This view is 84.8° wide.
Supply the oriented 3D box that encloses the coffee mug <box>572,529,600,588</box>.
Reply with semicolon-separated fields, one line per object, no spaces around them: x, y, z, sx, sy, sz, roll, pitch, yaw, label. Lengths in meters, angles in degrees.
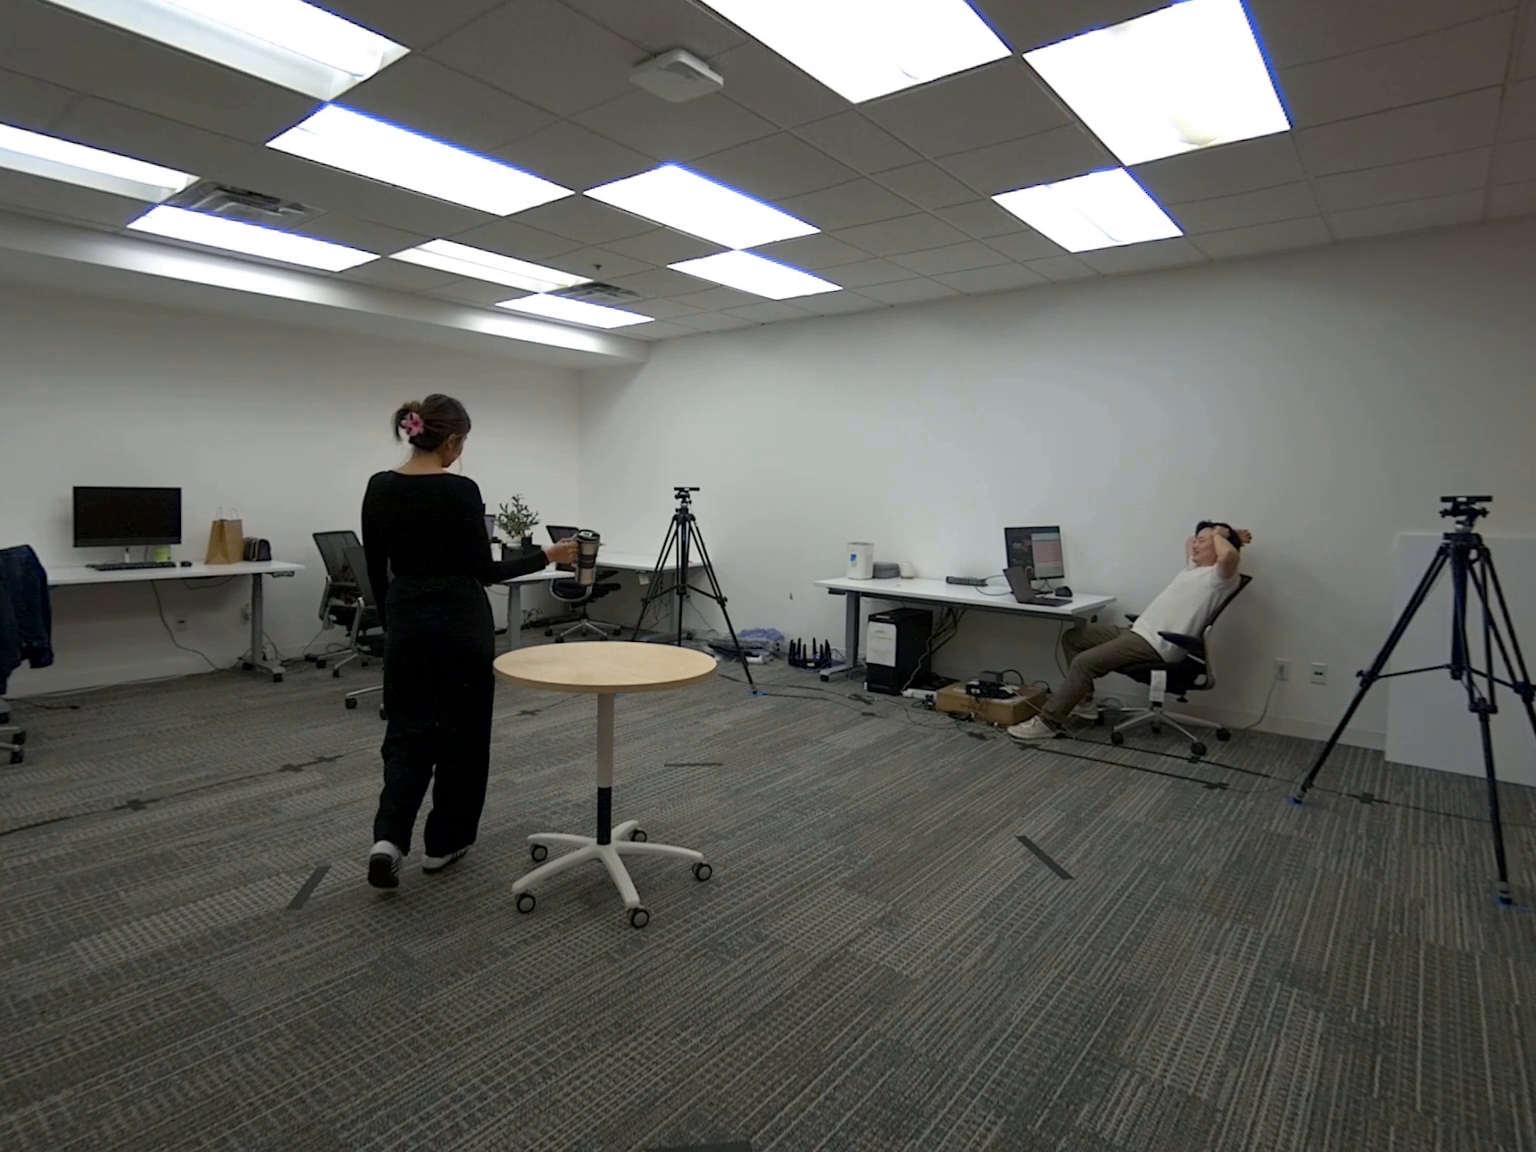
-0.705;-0.072;3.183;0.126;0.199;0.086;23;29;26;coffee mug
